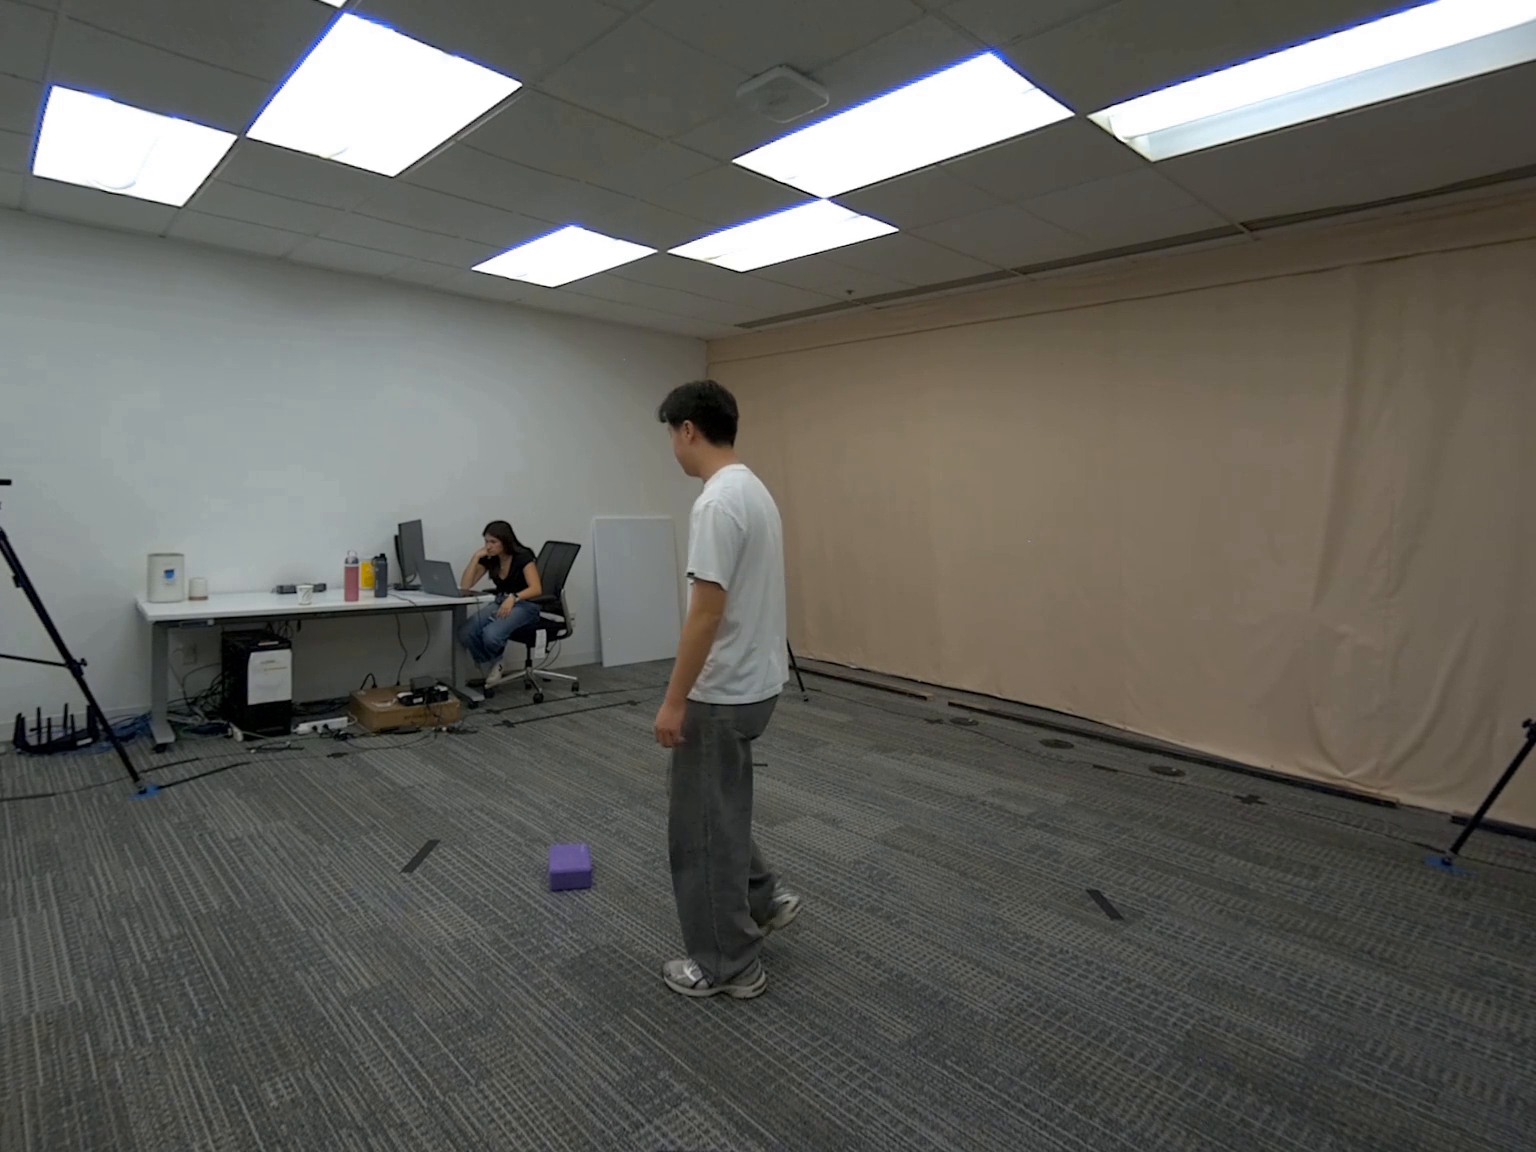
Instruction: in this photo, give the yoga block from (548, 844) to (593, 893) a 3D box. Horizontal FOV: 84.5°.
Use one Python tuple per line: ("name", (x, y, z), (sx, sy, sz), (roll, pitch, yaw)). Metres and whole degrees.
("yoga block", (-0.731, 1.061, 3.065), (0.147, 0.076, 0.232), (1, 5, -14))
